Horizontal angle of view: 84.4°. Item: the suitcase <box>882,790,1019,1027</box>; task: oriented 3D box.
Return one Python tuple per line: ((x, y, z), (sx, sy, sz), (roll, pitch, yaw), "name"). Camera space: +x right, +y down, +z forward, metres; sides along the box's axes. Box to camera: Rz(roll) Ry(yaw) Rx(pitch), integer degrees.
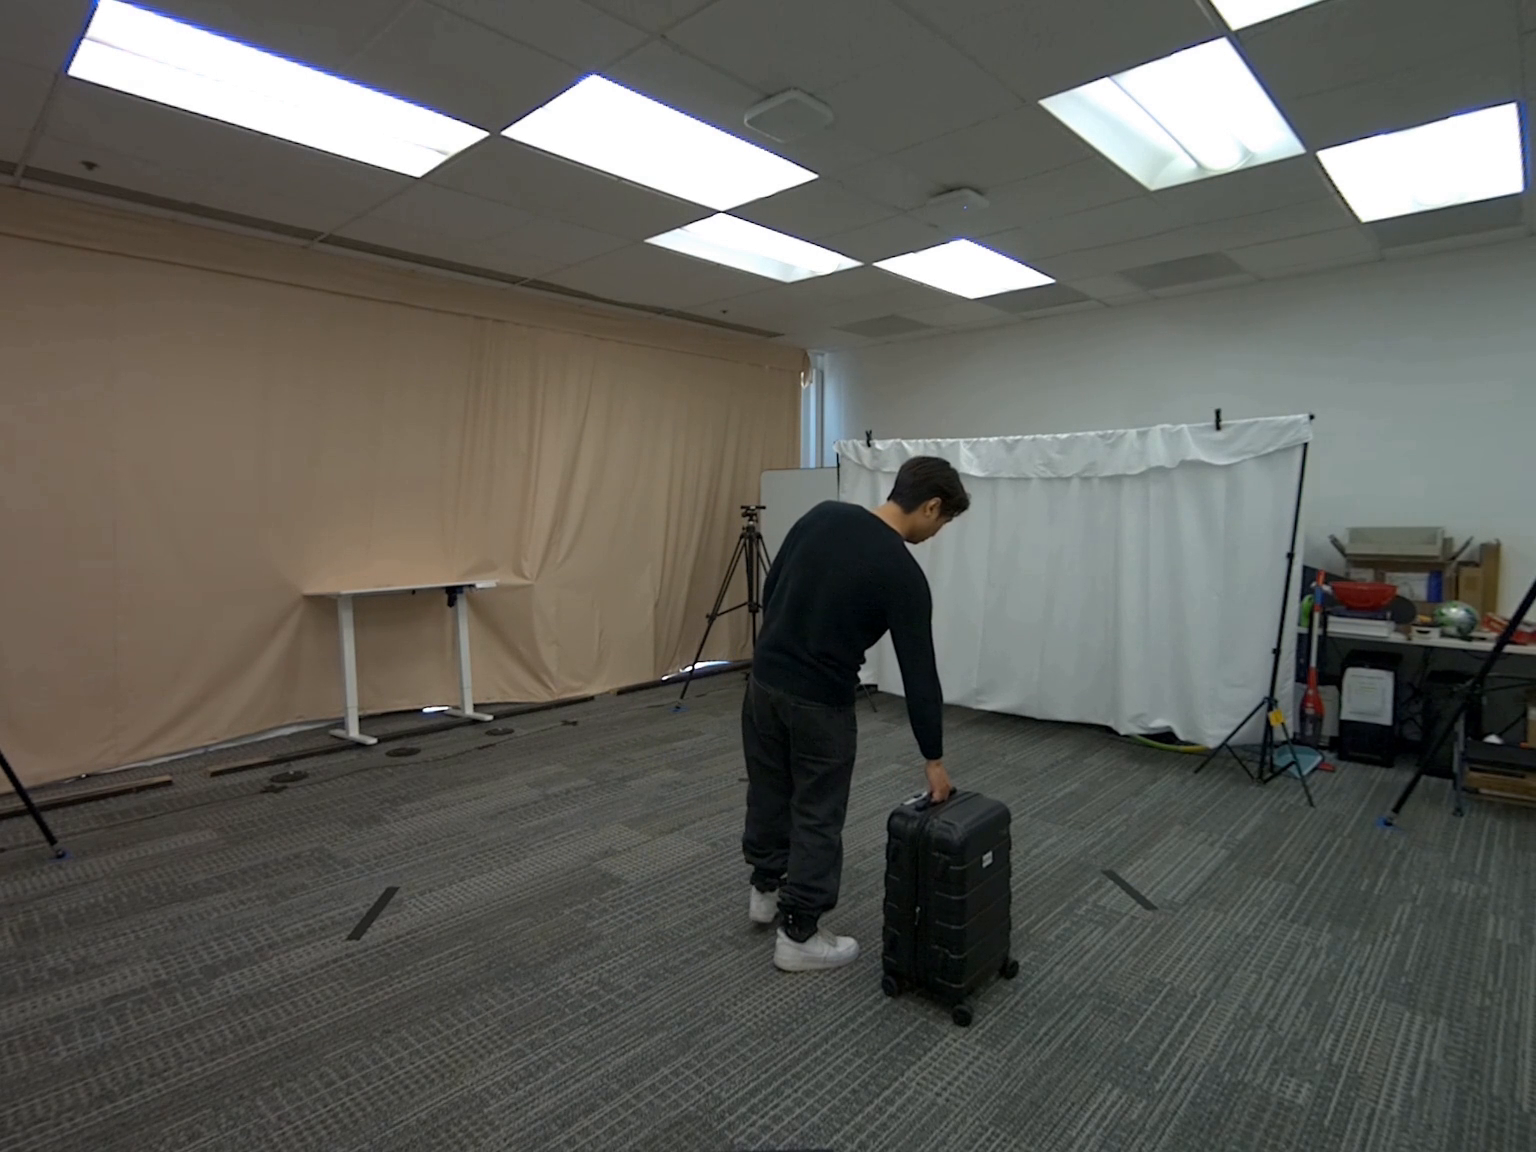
((0.532, 0.914, 2.431), (0.256, 0.548, 0.364), (3, 4, 41), "suitcase")
